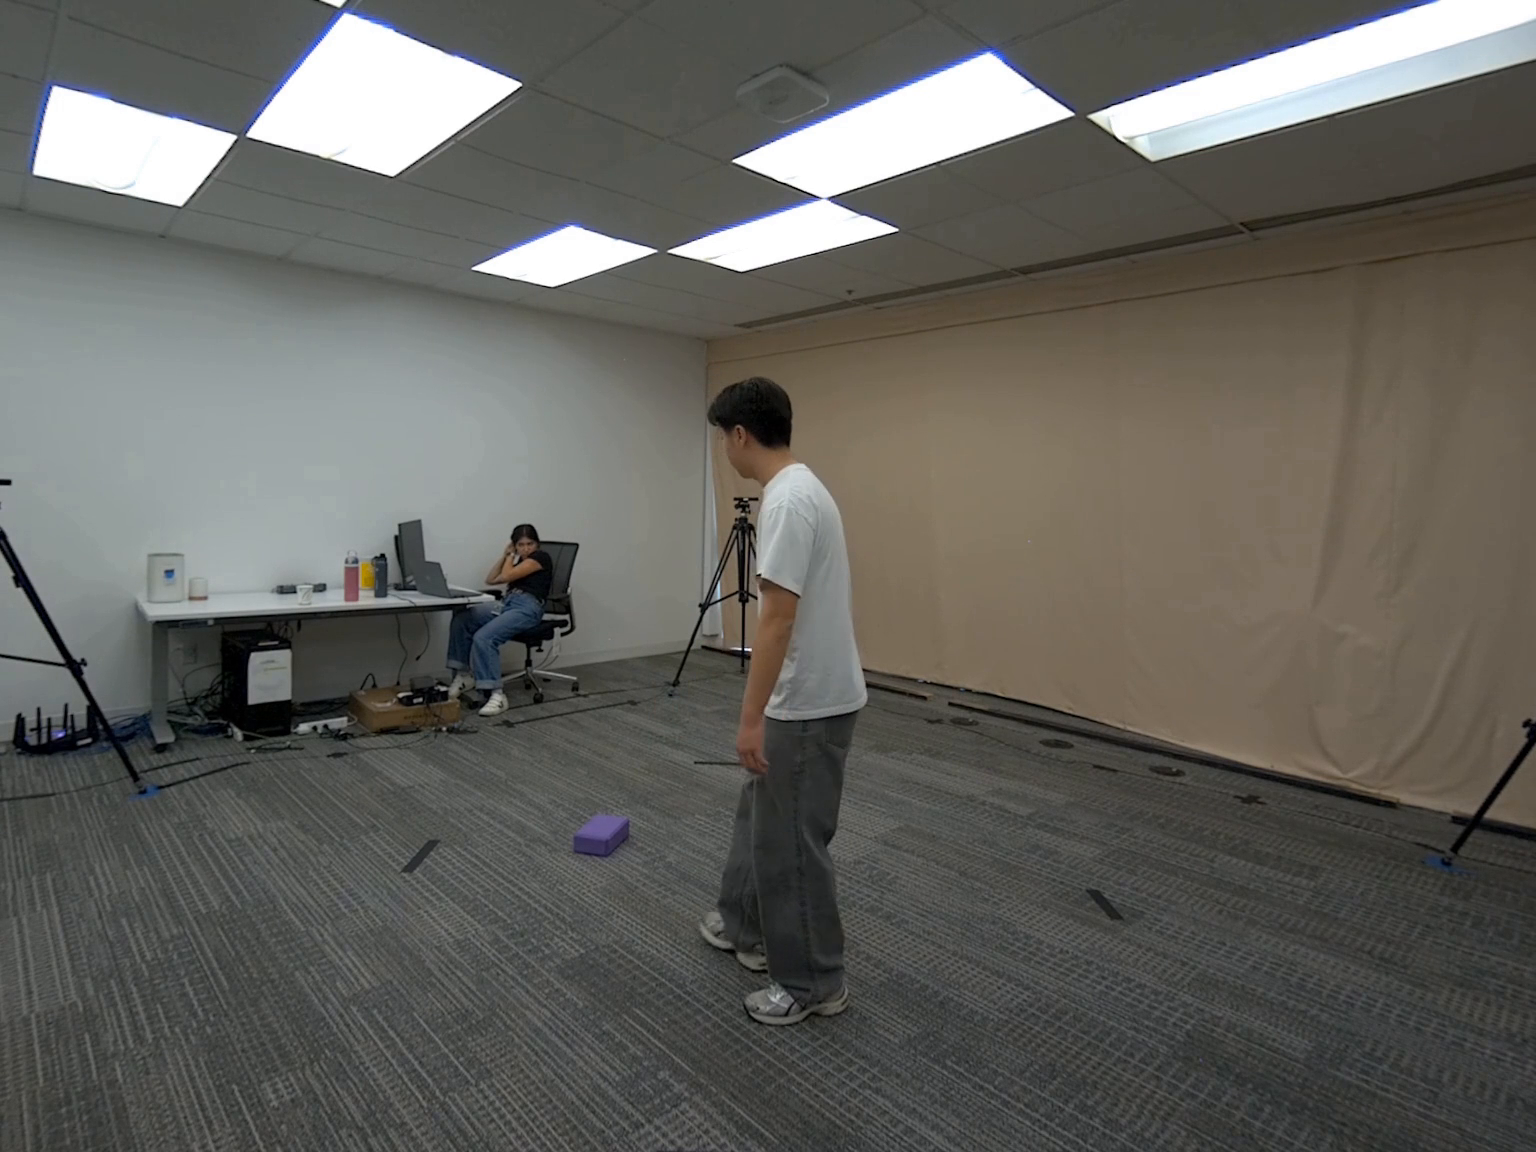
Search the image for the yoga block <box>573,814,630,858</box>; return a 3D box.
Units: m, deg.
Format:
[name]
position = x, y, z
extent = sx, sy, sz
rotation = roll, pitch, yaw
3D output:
[yoga block]
position = -0.672, 1.035, 3.356
extent = 0.151, 0.076, 0.227
rotation = 3, 6, 15
